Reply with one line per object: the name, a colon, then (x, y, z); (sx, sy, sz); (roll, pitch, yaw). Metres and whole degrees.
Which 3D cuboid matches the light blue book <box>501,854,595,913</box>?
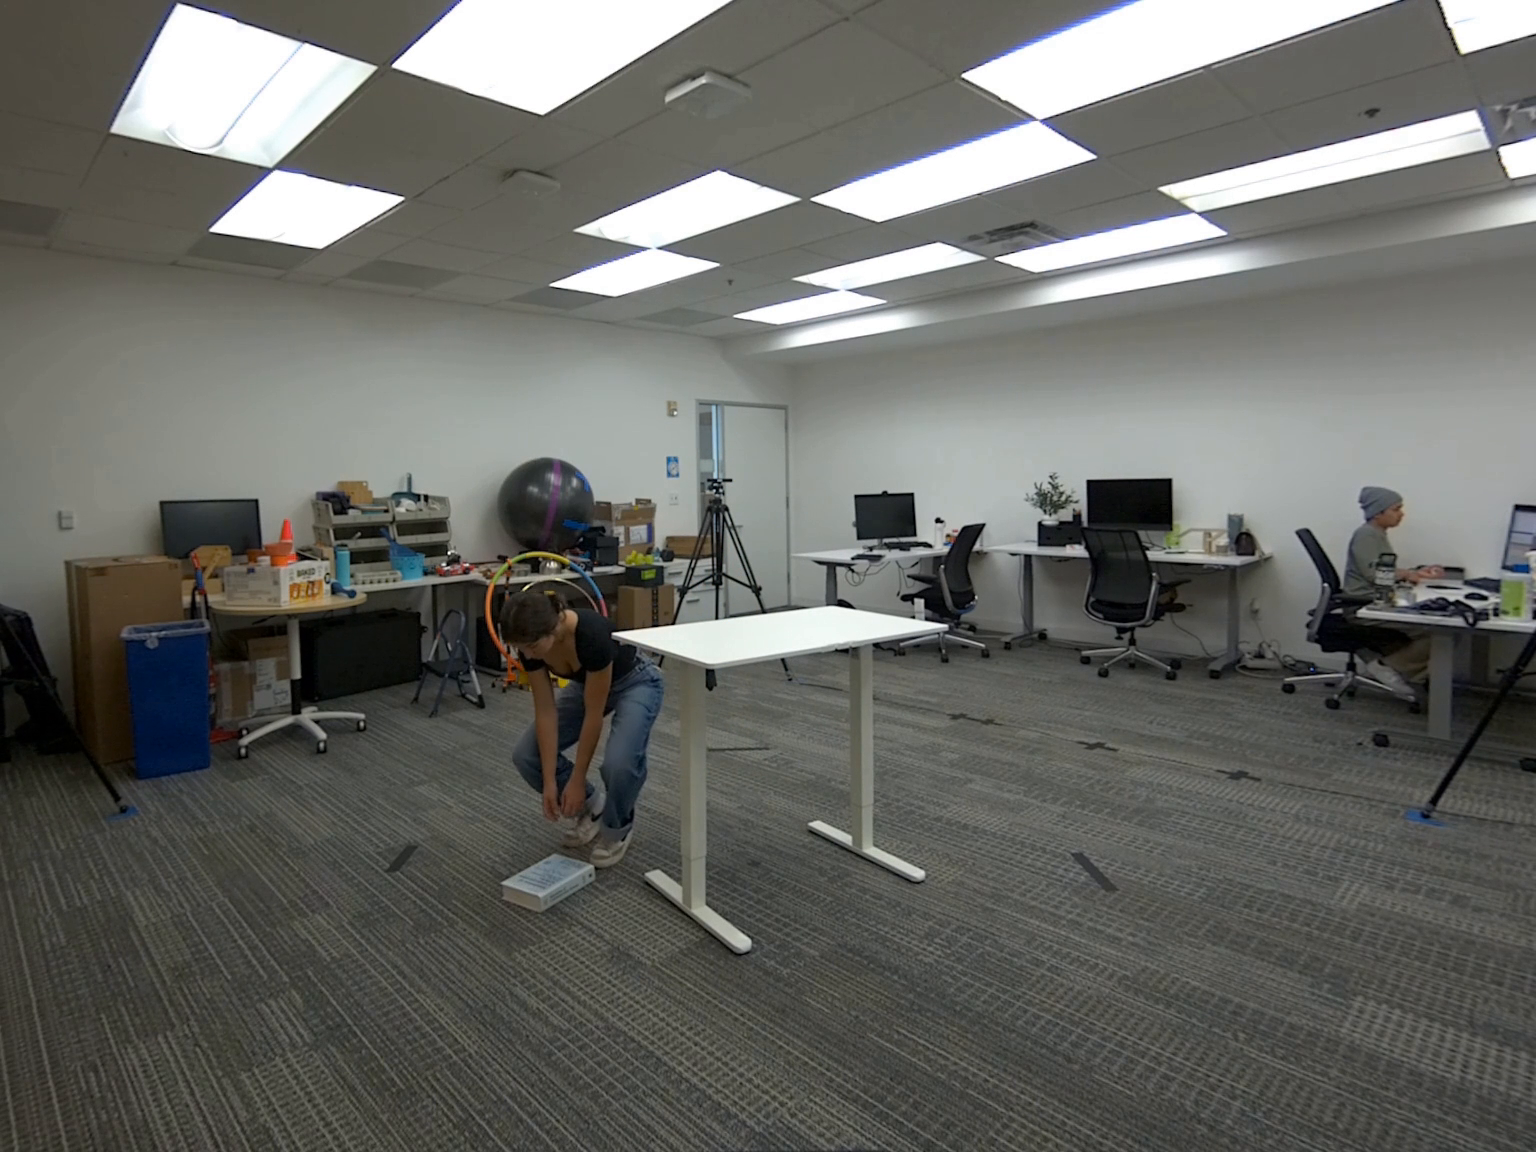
light blue book: (-0.749, 1.047, 2.933); (0.196, 0.059, 0.255); (2, 7, 32)
